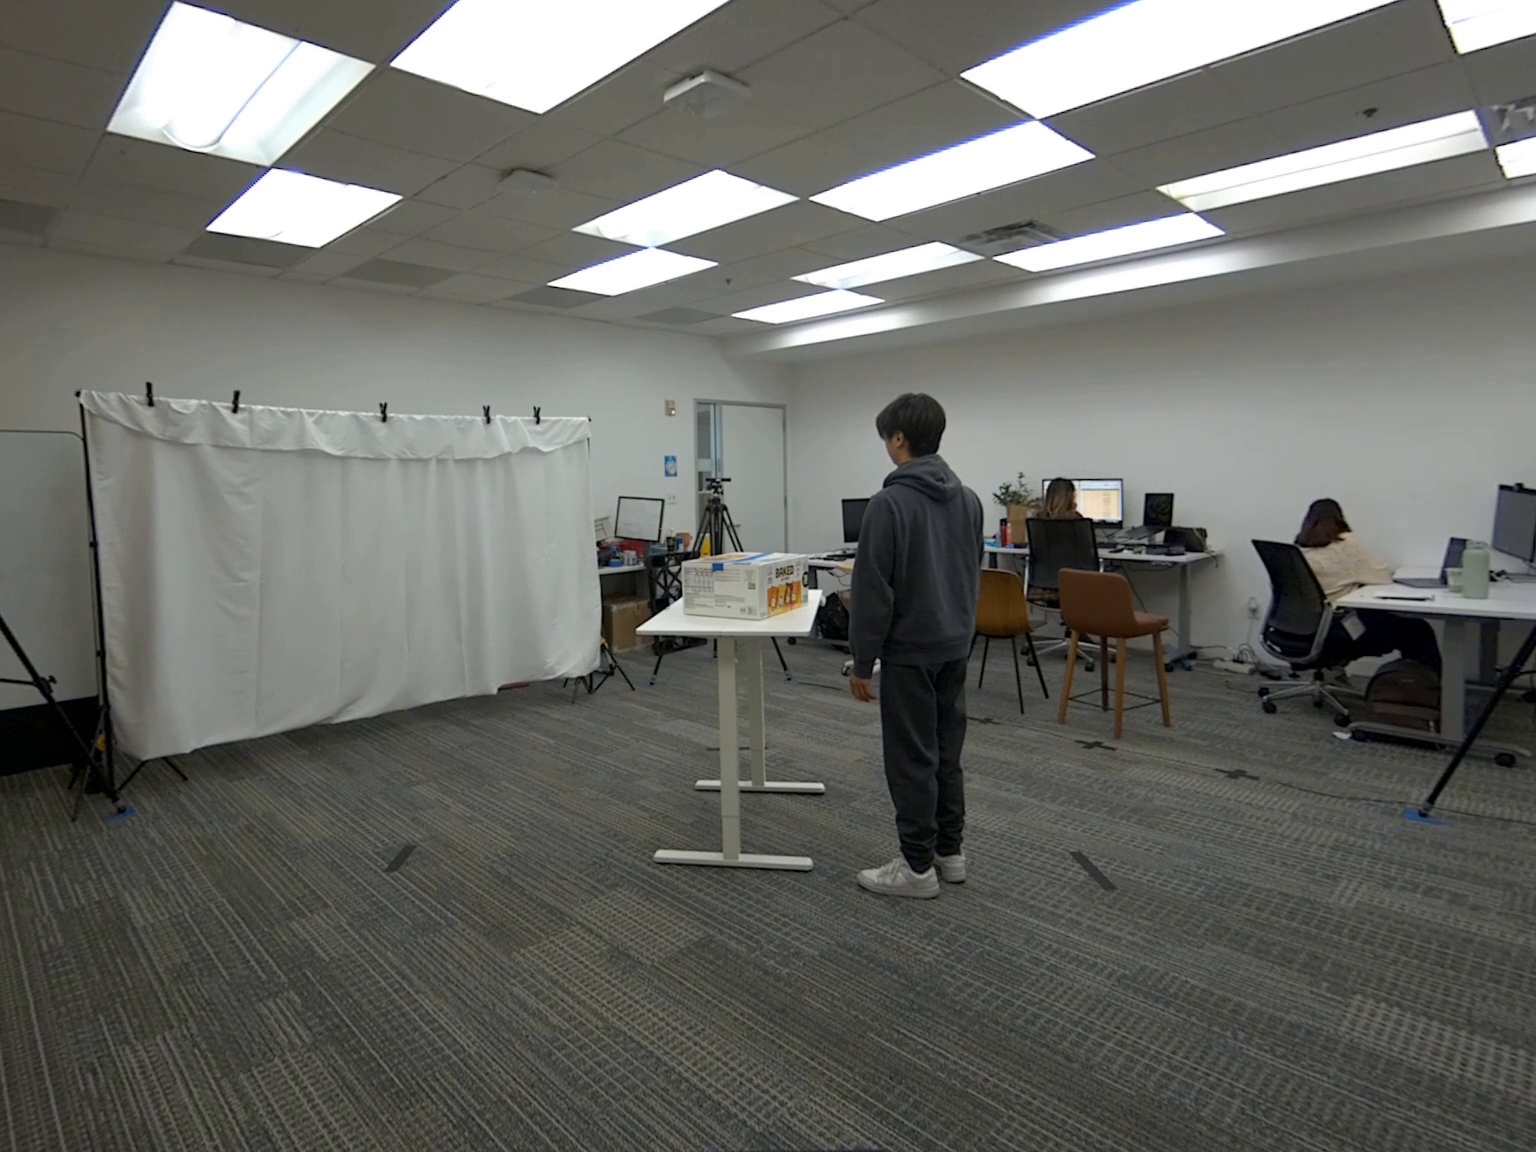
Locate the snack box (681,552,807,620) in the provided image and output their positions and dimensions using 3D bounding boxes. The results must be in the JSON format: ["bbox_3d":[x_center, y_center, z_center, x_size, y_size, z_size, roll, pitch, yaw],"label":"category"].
[{"bbox_3d":[-0.079,0.033,3.337,0.349,0.205,0.396,2,7,30],"label":"snack box"}]
